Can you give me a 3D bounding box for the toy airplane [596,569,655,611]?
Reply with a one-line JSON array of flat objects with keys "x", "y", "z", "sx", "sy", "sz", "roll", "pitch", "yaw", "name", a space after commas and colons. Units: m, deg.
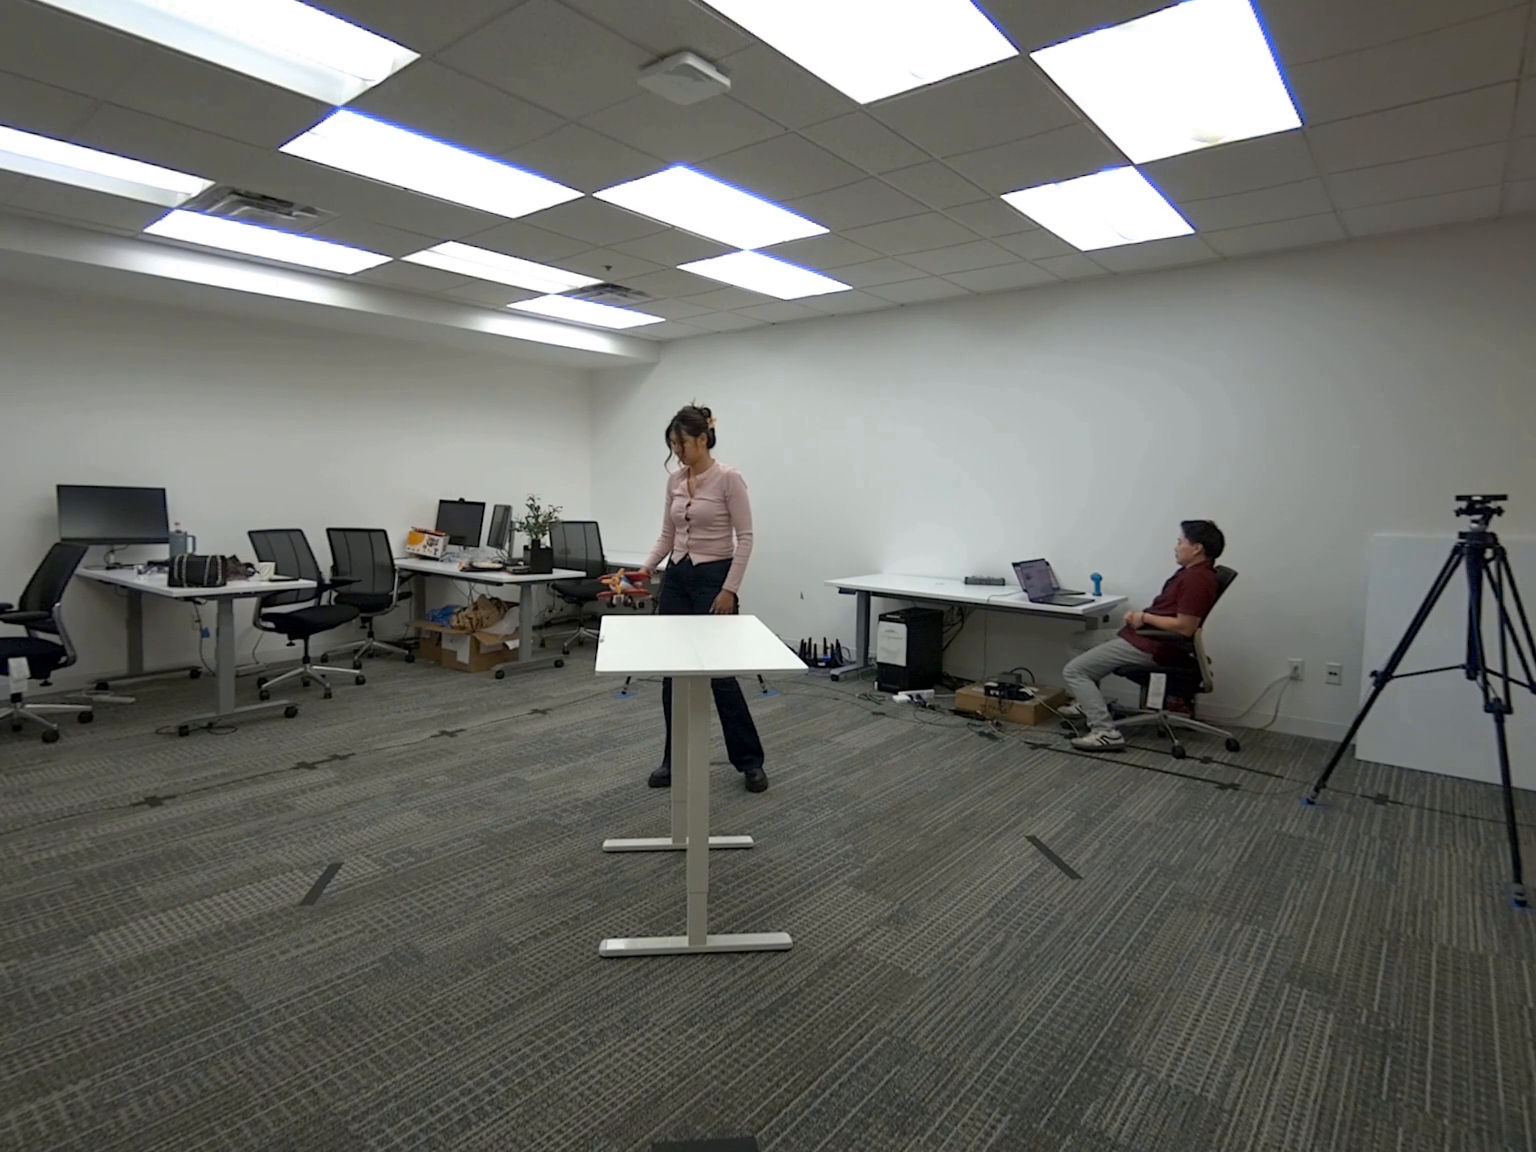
[{"x": -0.657, "y": 0.065, "z": 3.855, "sx": 0.249, "sy": 0.157, "sz": 0.260, "roll": -3, "pitch": -6, "yaw": -10, "name": "toy airplane"}]
